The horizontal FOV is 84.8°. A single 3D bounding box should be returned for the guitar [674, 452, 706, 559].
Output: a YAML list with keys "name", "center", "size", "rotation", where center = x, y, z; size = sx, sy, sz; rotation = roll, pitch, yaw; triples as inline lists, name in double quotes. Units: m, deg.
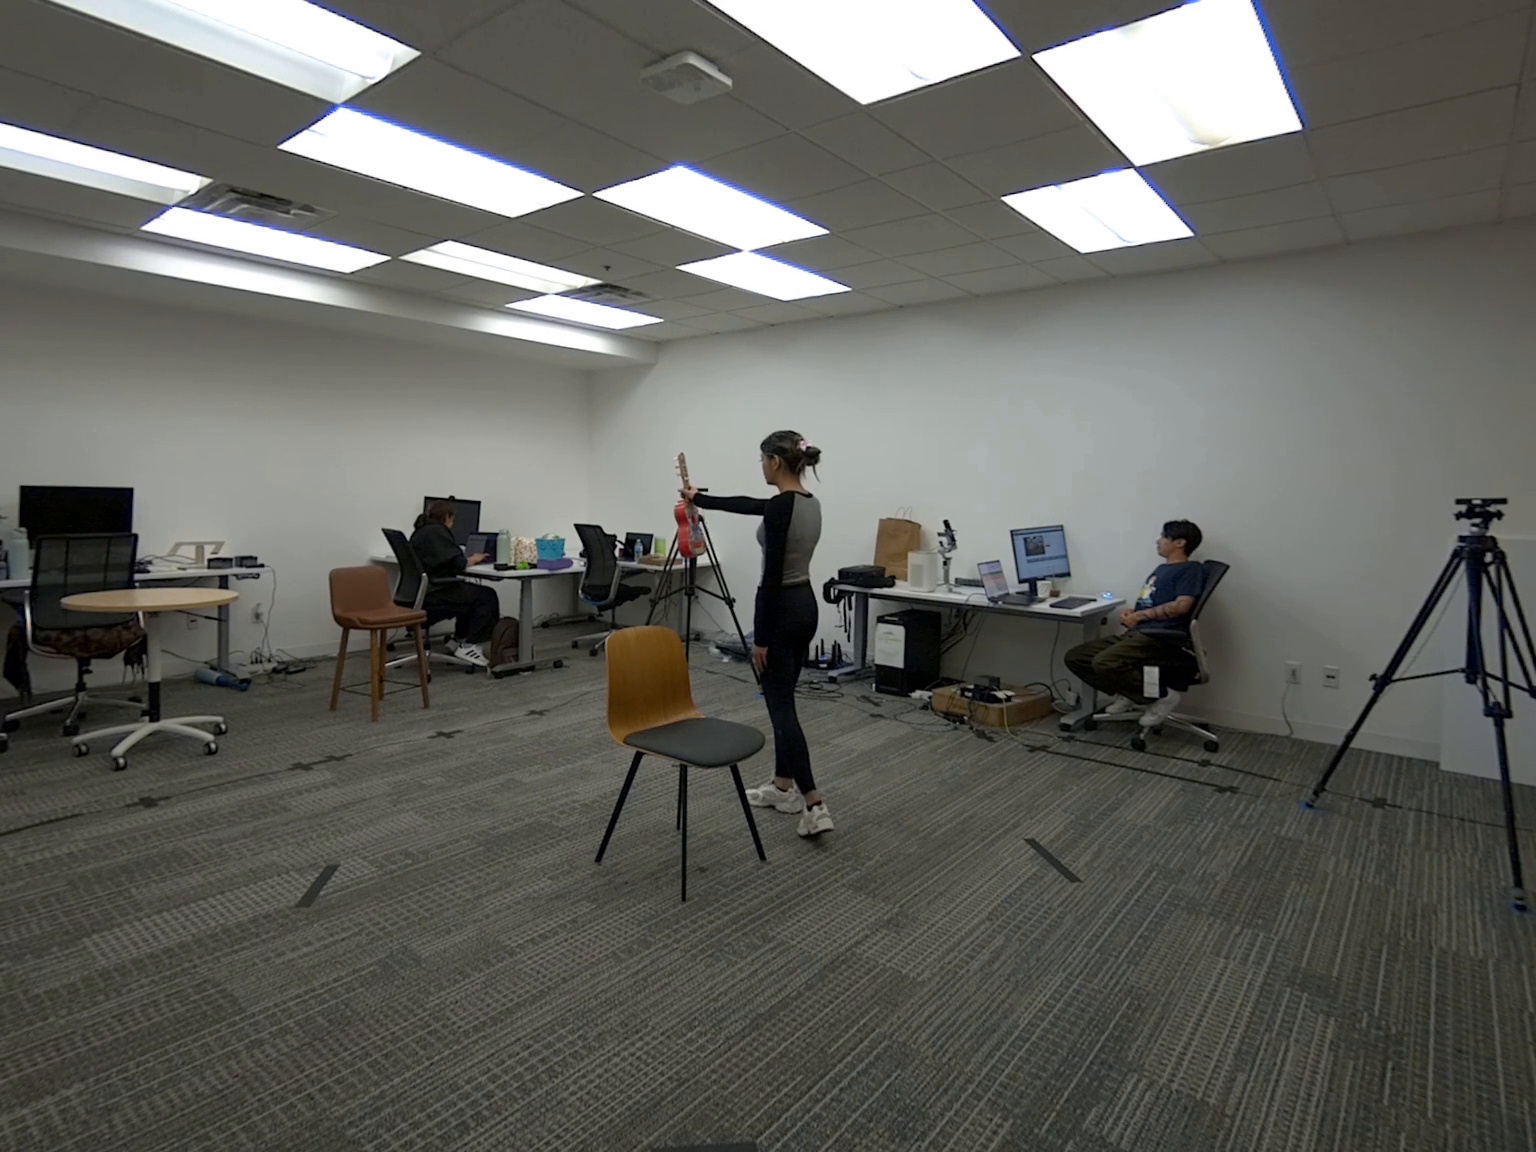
- name: "guitar"
  center: [-0.392, -0.339, 4.080]
  size: [0.072, 0.502, 0.188]
  rotation: [-10, -8, 21]
